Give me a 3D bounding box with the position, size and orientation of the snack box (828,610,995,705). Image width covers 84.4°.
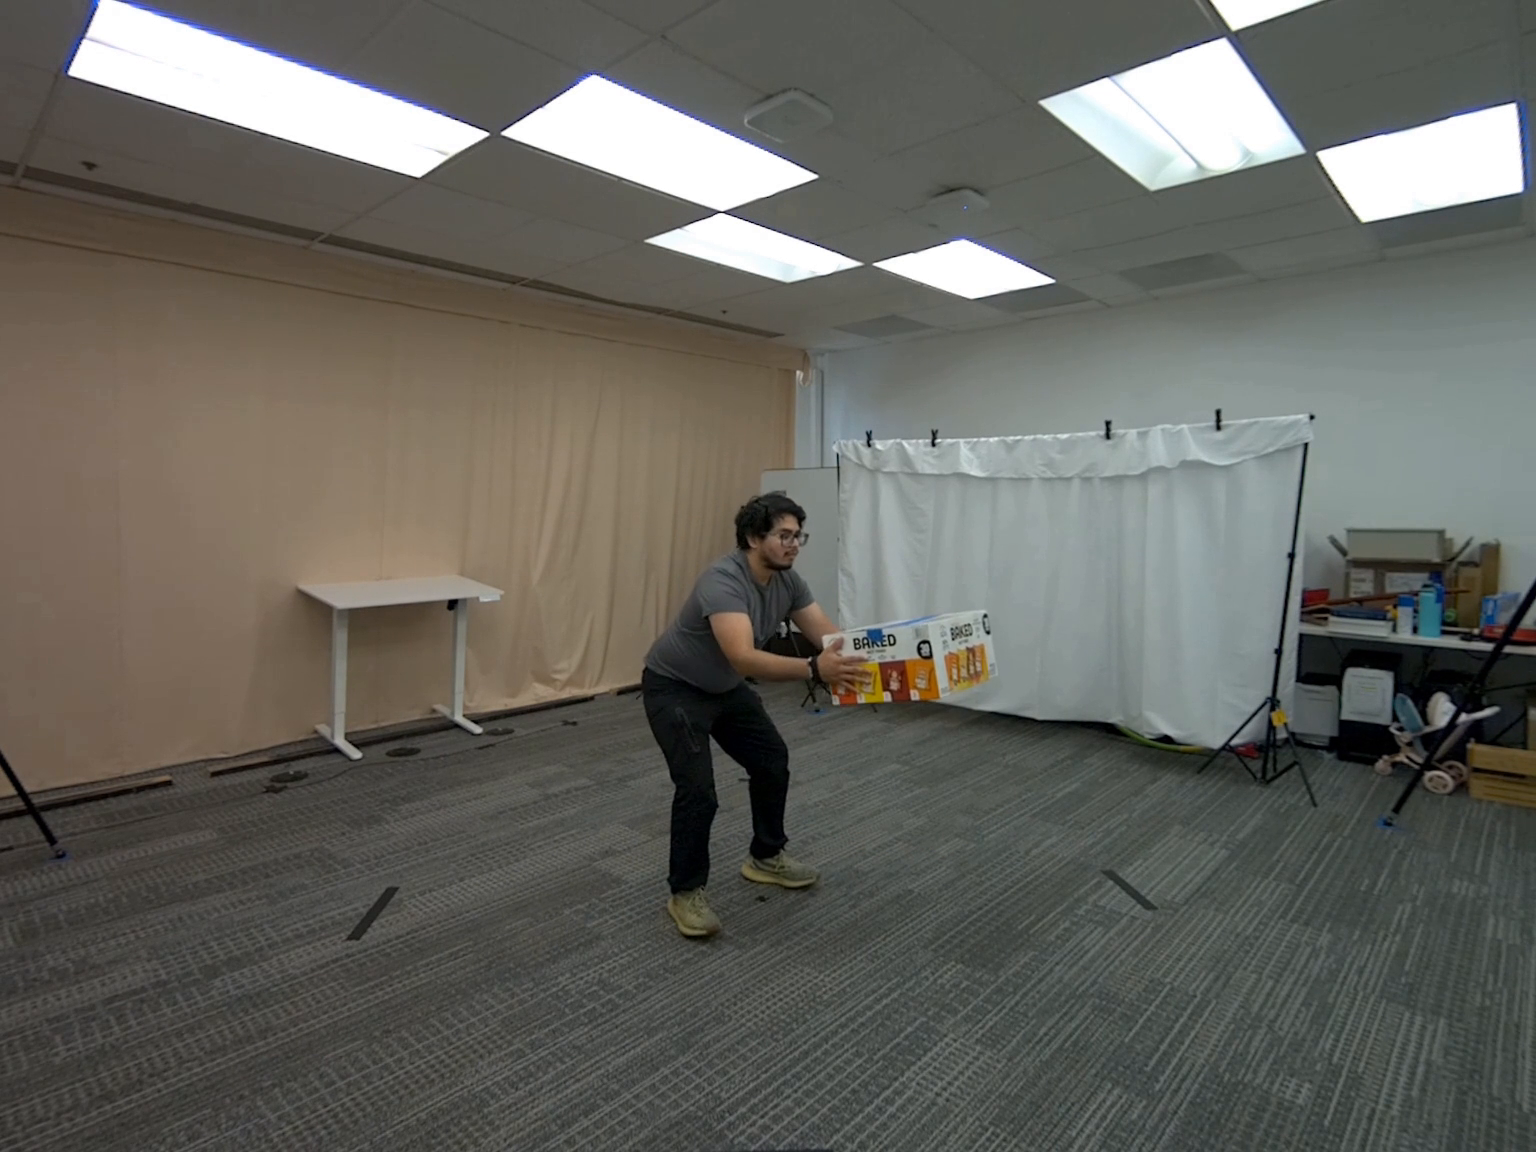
[{"bbox_3d":[0.426,0.240,2.471,0.350,0.206,0.393,-10,-3,38],"label":"snack box"}]
